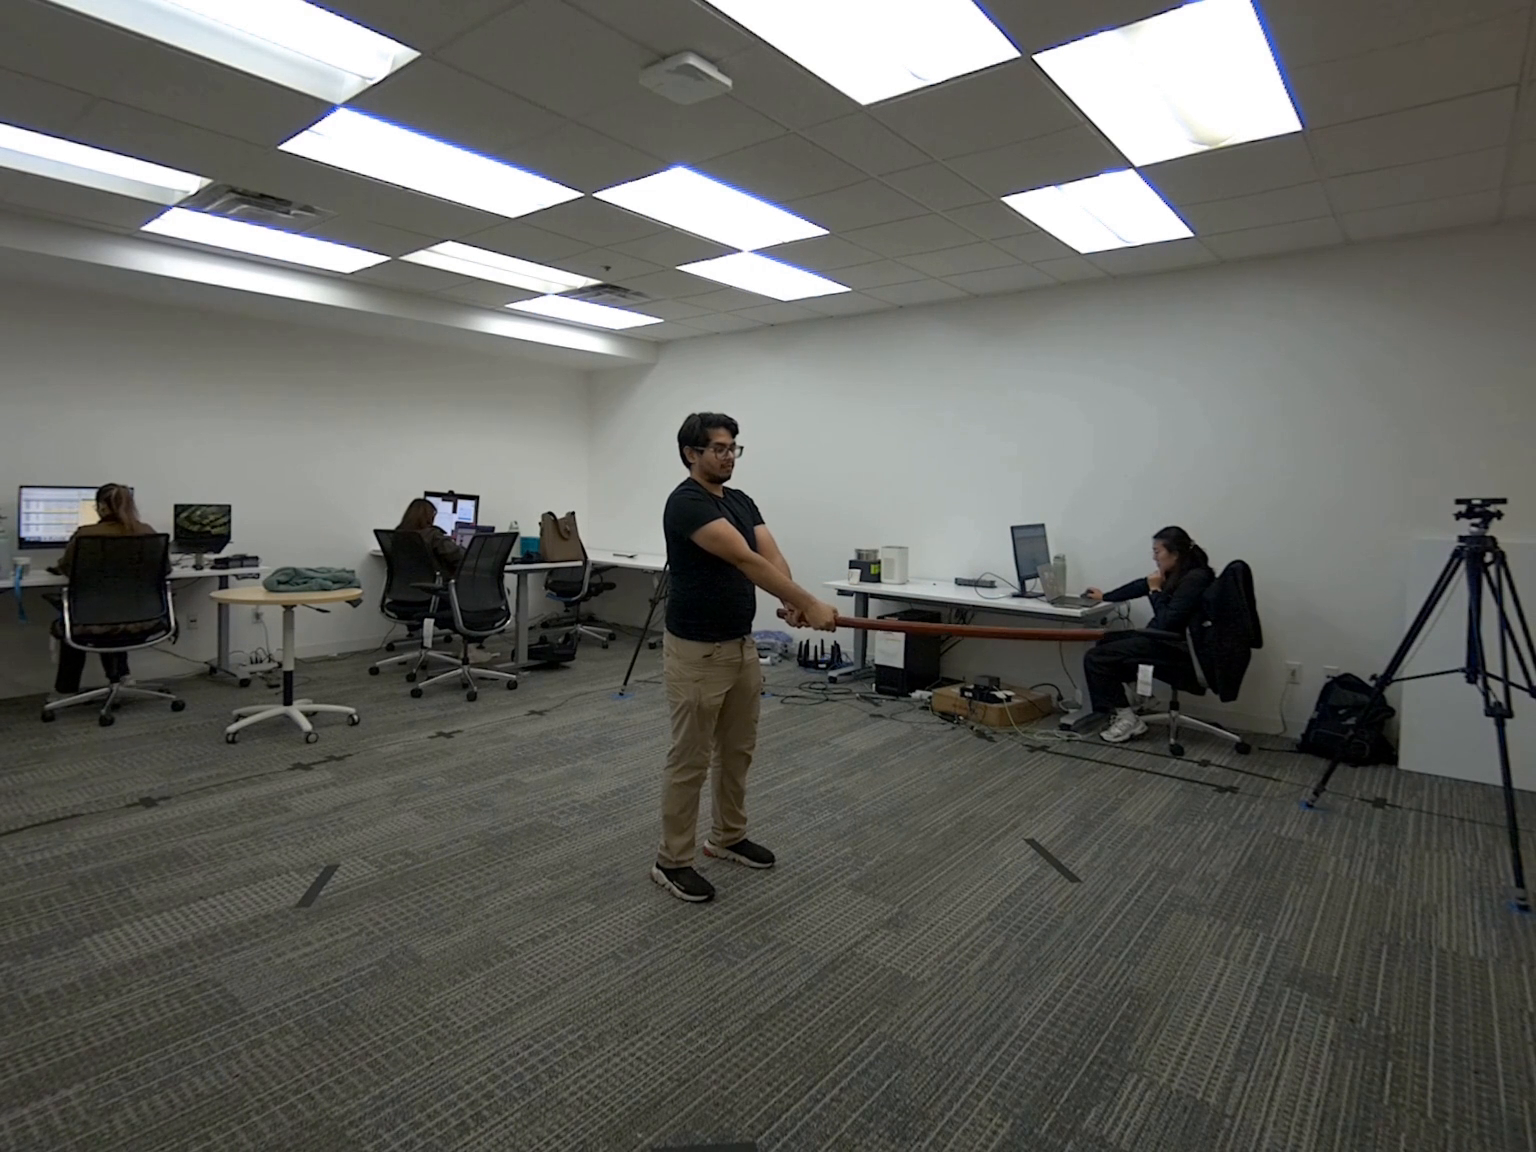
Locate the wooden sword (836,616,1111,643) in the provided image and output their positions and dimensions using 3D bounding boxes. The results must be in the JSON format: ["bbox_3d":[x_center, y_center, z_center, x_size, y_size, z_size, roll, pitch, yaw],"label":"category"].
[{"bbox_3d":[0.460,0.156,2.490,1.056,0.023,0.051,0,30,38],"label":"wooden sword"}]
